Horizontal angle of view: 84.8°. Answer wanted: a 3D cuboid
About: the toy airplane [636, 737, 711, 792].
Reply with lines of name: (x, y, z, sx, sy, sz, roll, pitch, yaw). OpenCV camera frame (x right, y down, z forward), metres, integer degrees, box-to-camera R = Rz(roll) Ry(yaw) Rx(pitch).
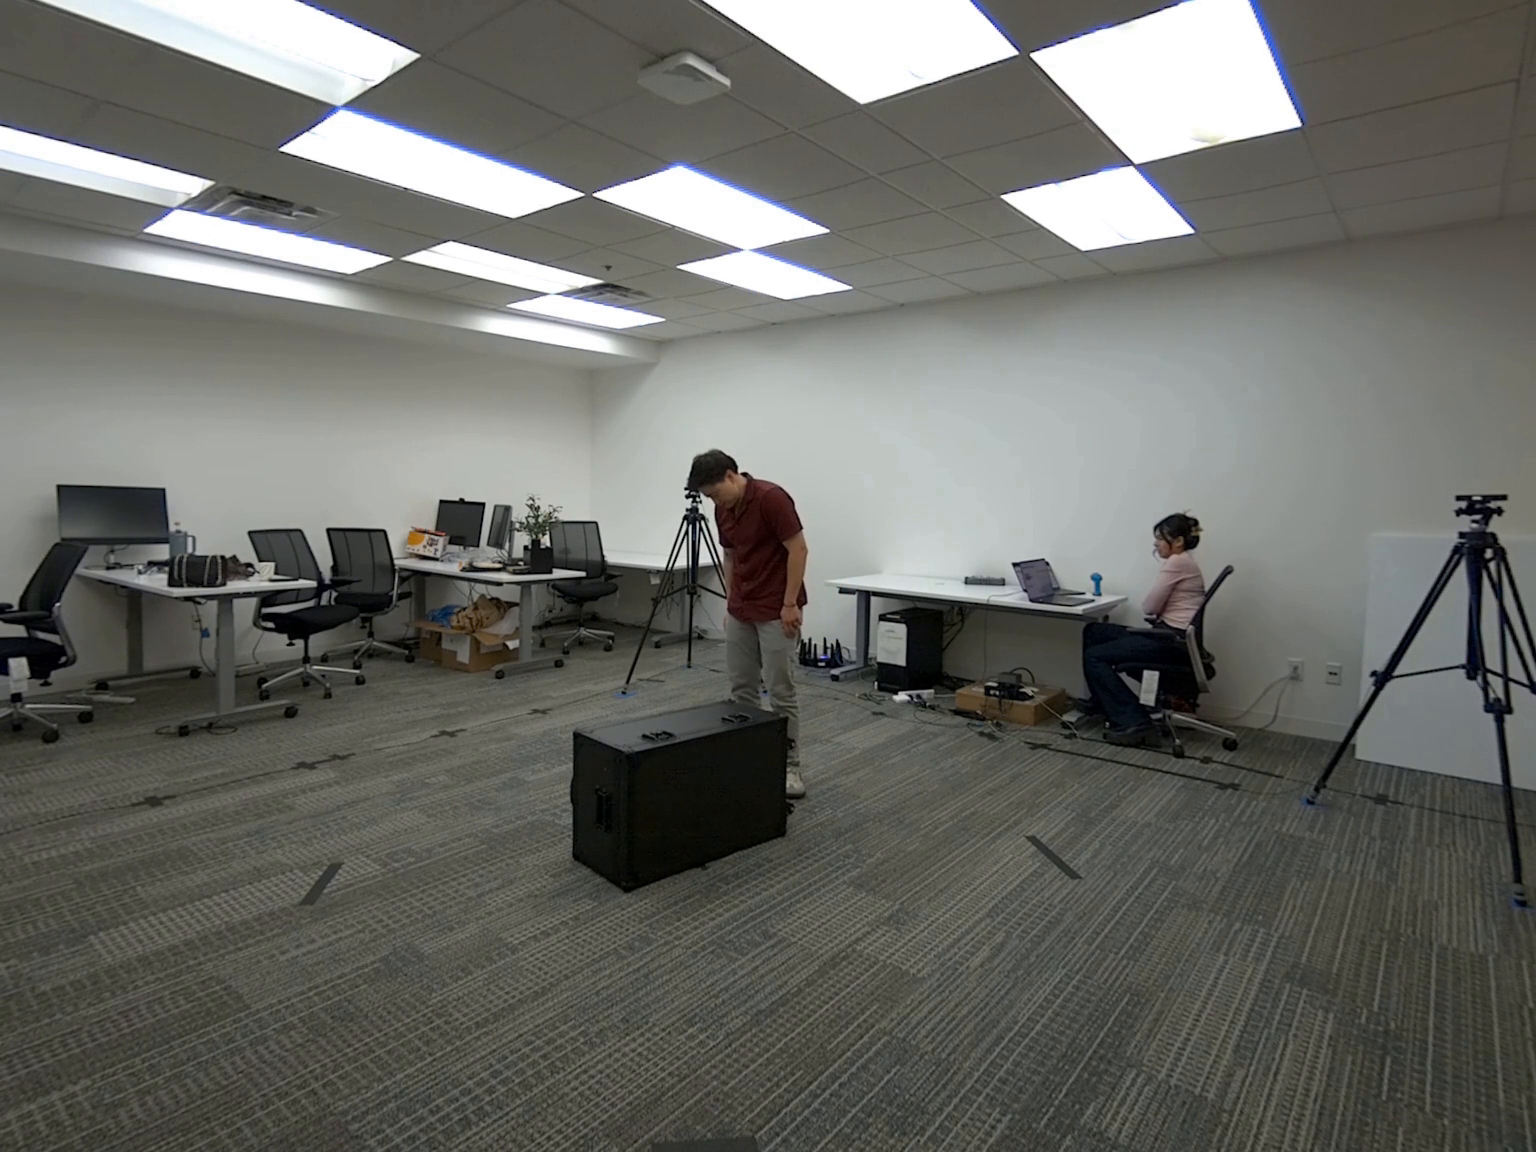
toy airplane: (-0.450, 0.892, 4.012, 0.266, 0.156, 0.245, 2, 4, 26)
